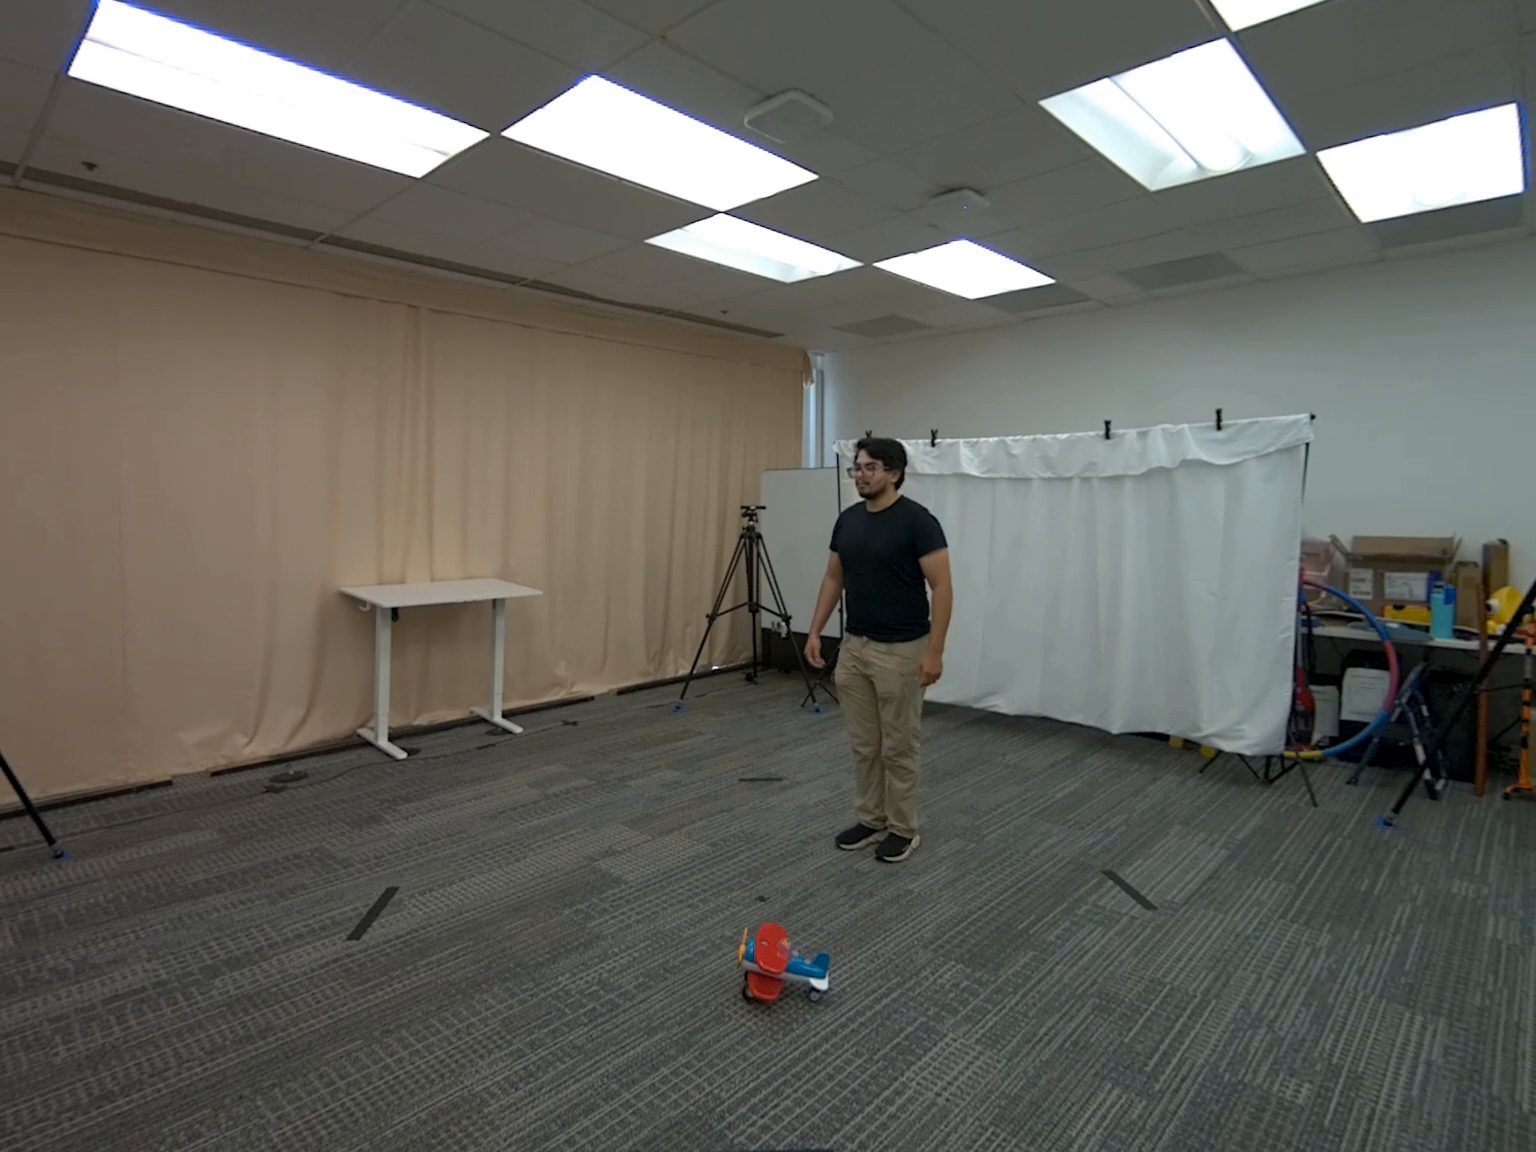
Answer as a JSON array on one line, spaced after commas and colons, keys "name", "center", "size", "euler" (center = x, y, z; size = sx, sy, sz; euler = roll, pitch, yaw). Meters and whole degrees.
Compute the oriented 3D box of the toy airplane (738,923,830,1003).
[{"name": "toy airplane", "center": [0.042, 1.117, 2.413], "size": [0.253, 0.156, 0.257], "euler": [-4, 5, -24]}]
